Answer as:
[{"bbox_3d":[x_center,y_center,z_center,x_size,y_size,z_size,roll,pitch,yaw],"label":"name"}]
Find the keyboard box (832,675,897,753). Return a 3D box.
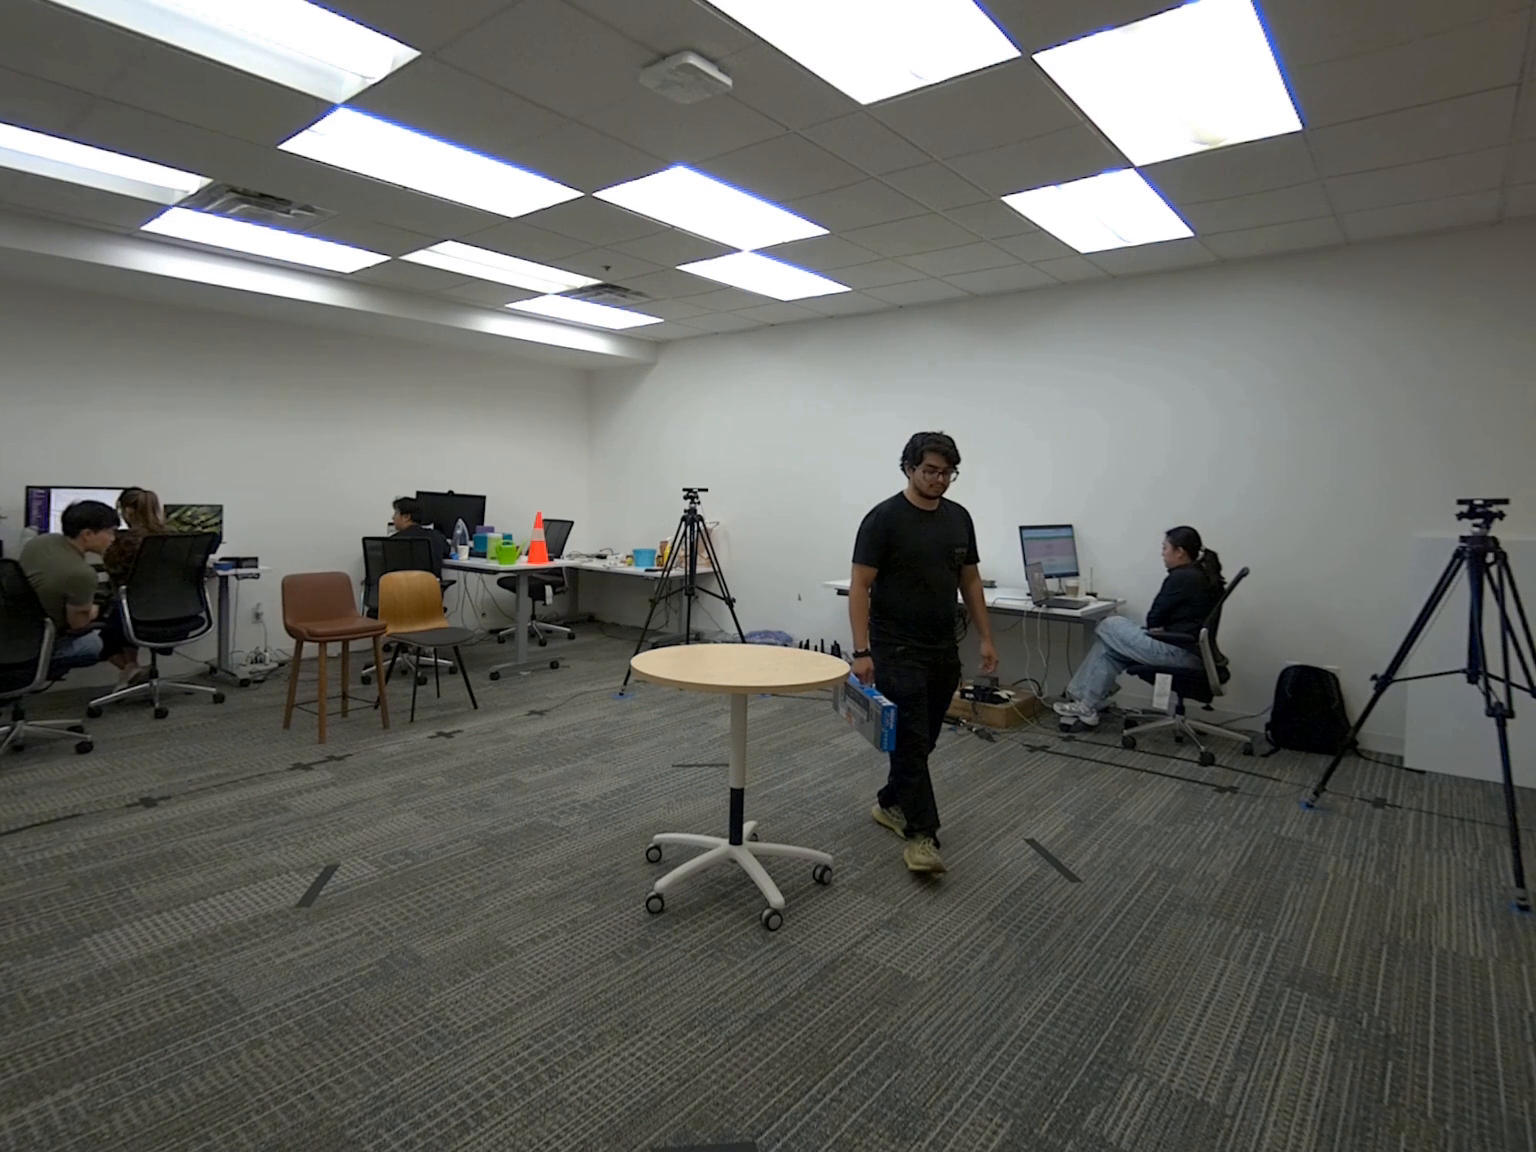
[{"bbox_3d":[0.358,0.486,3.226,0.058,0.175,0.448,0,9,-19],"label":"keyboard box"}]
